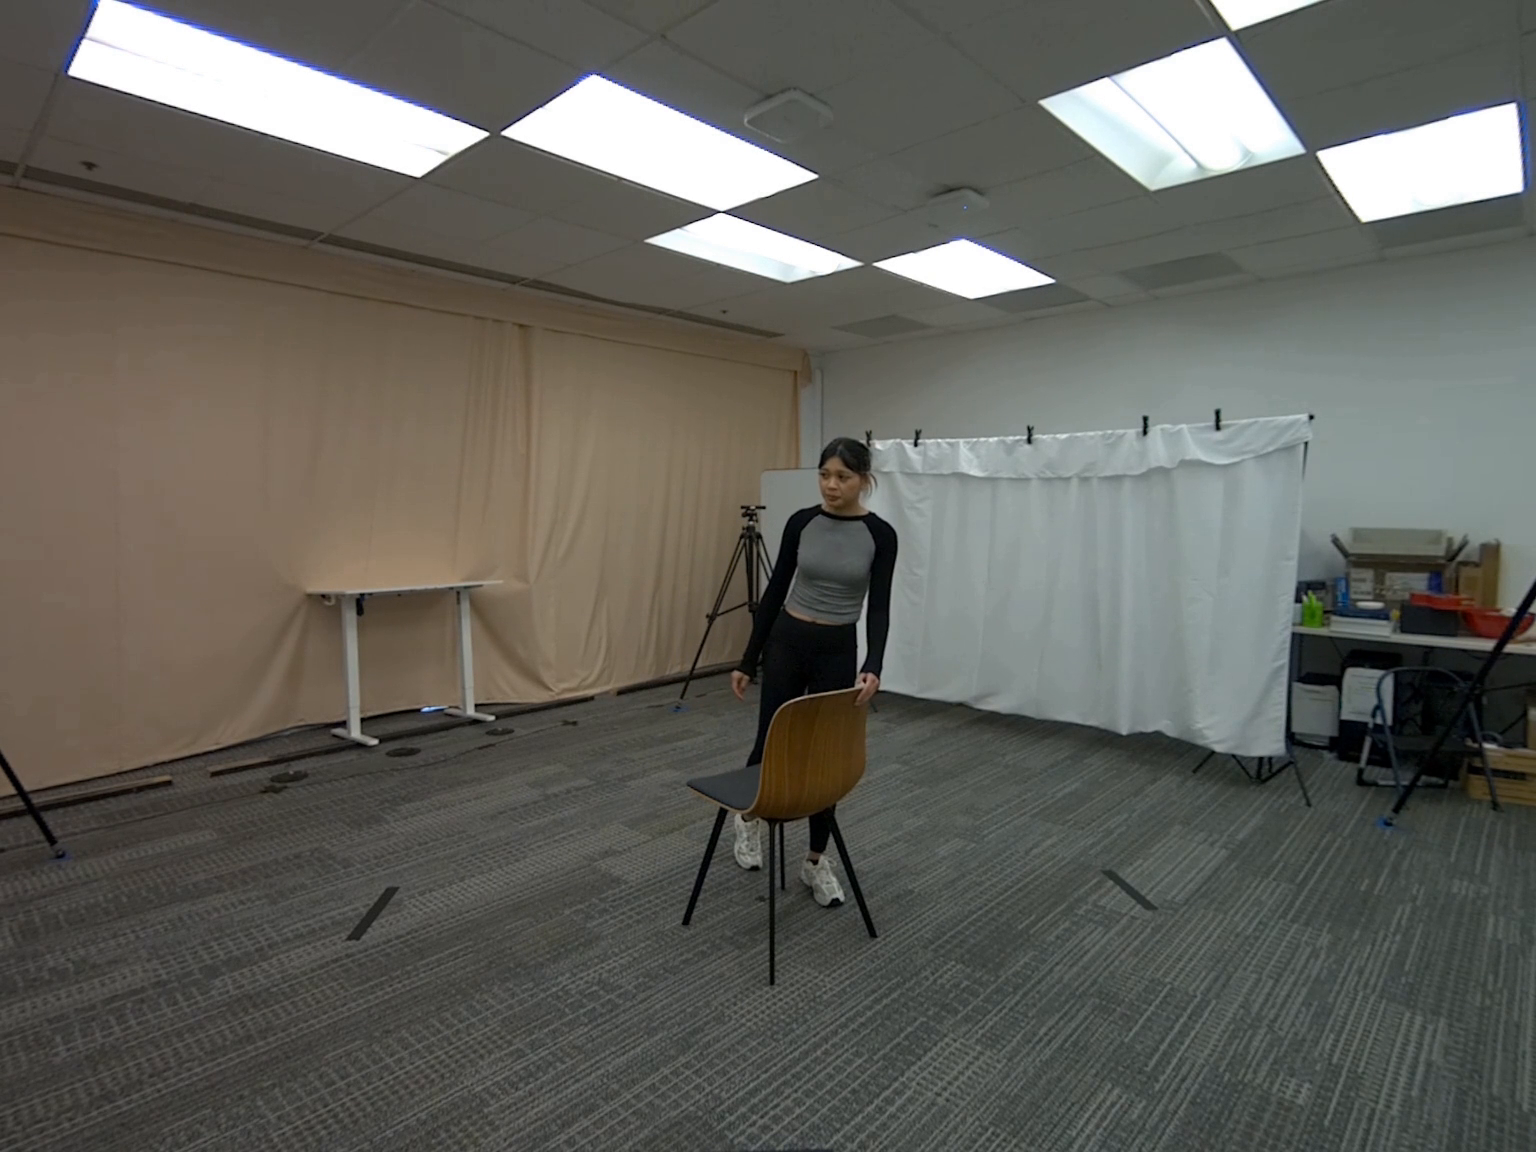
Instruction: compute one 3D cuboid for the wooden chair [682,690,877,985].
[{"bbox_3d":[0.027,0.735,2.730,0.464,0.874,0.541,-3,9,-39],"label":"wooden chair"}]
